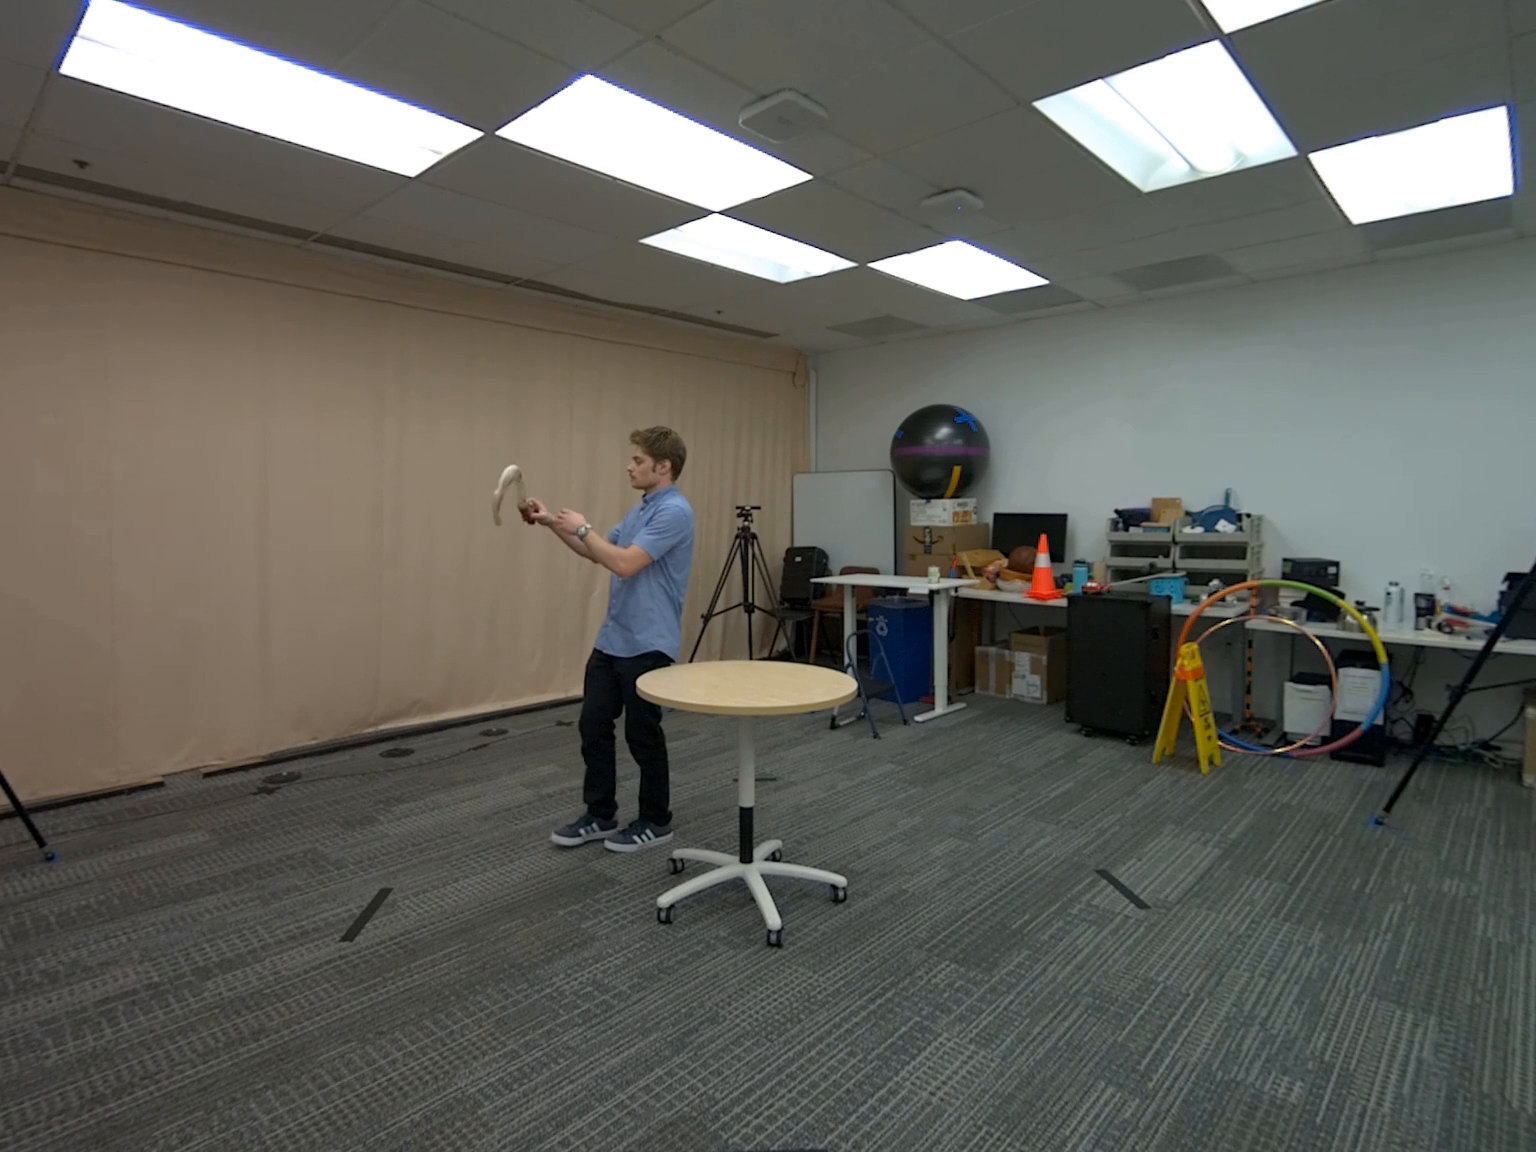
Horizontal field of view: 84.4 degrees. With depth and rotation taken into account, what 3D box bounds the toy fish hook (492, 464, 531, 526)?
[{"bbox_3d":[-0.986,-0.253,3.261,0.048,0.225,0.502,22,-19,3],"label":"toy fish hook"}]
